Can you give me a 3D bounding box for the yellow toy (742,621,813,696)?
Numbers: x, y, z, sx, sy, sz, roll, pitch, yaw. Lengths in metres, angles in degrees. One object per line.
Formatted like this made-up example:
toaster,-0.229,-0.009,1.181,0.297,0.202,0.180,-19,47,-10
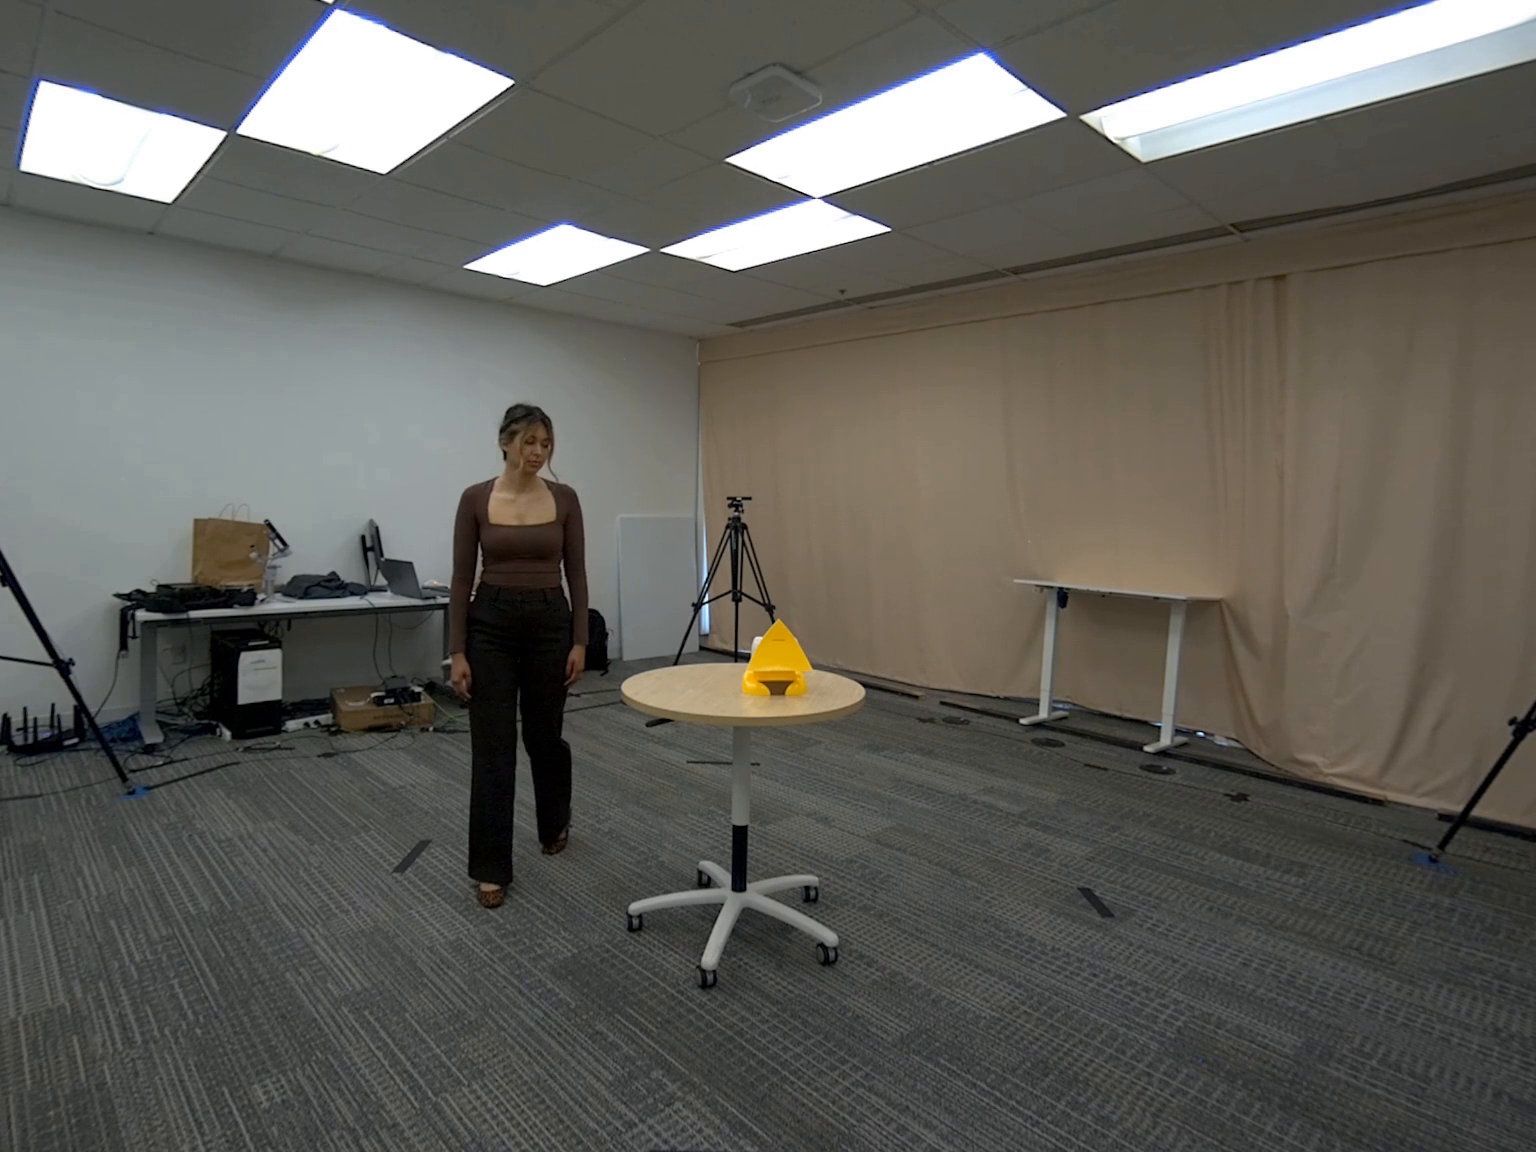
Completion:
yellow toy,0.015,0.242,2.602,0.203,0.230,0.195,1,4,-8
